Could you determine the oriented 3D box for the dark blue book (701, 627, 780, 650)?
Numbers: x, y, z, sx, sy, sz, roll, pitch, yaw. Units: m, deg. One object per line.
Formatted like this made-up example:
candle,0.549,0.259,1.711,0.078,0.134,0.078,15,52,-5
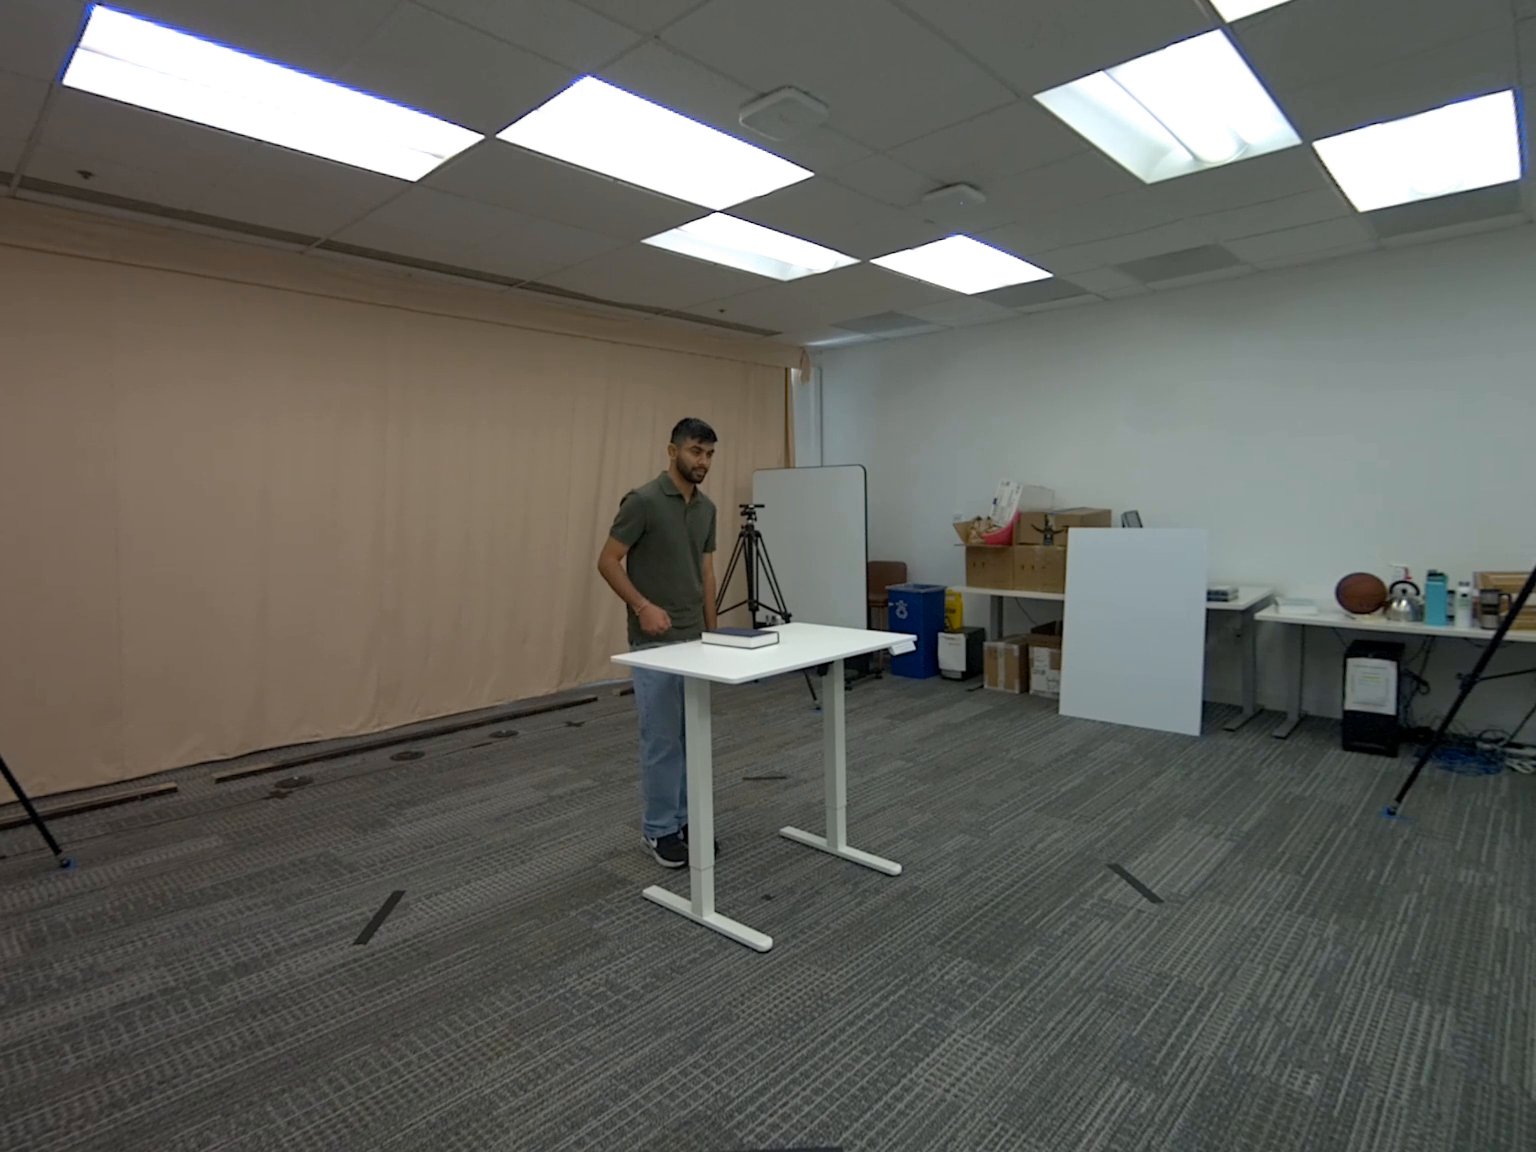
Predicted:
dark blue book,-0.104,0.229,3.117,0.253,0.045,0.158,3,6,40
